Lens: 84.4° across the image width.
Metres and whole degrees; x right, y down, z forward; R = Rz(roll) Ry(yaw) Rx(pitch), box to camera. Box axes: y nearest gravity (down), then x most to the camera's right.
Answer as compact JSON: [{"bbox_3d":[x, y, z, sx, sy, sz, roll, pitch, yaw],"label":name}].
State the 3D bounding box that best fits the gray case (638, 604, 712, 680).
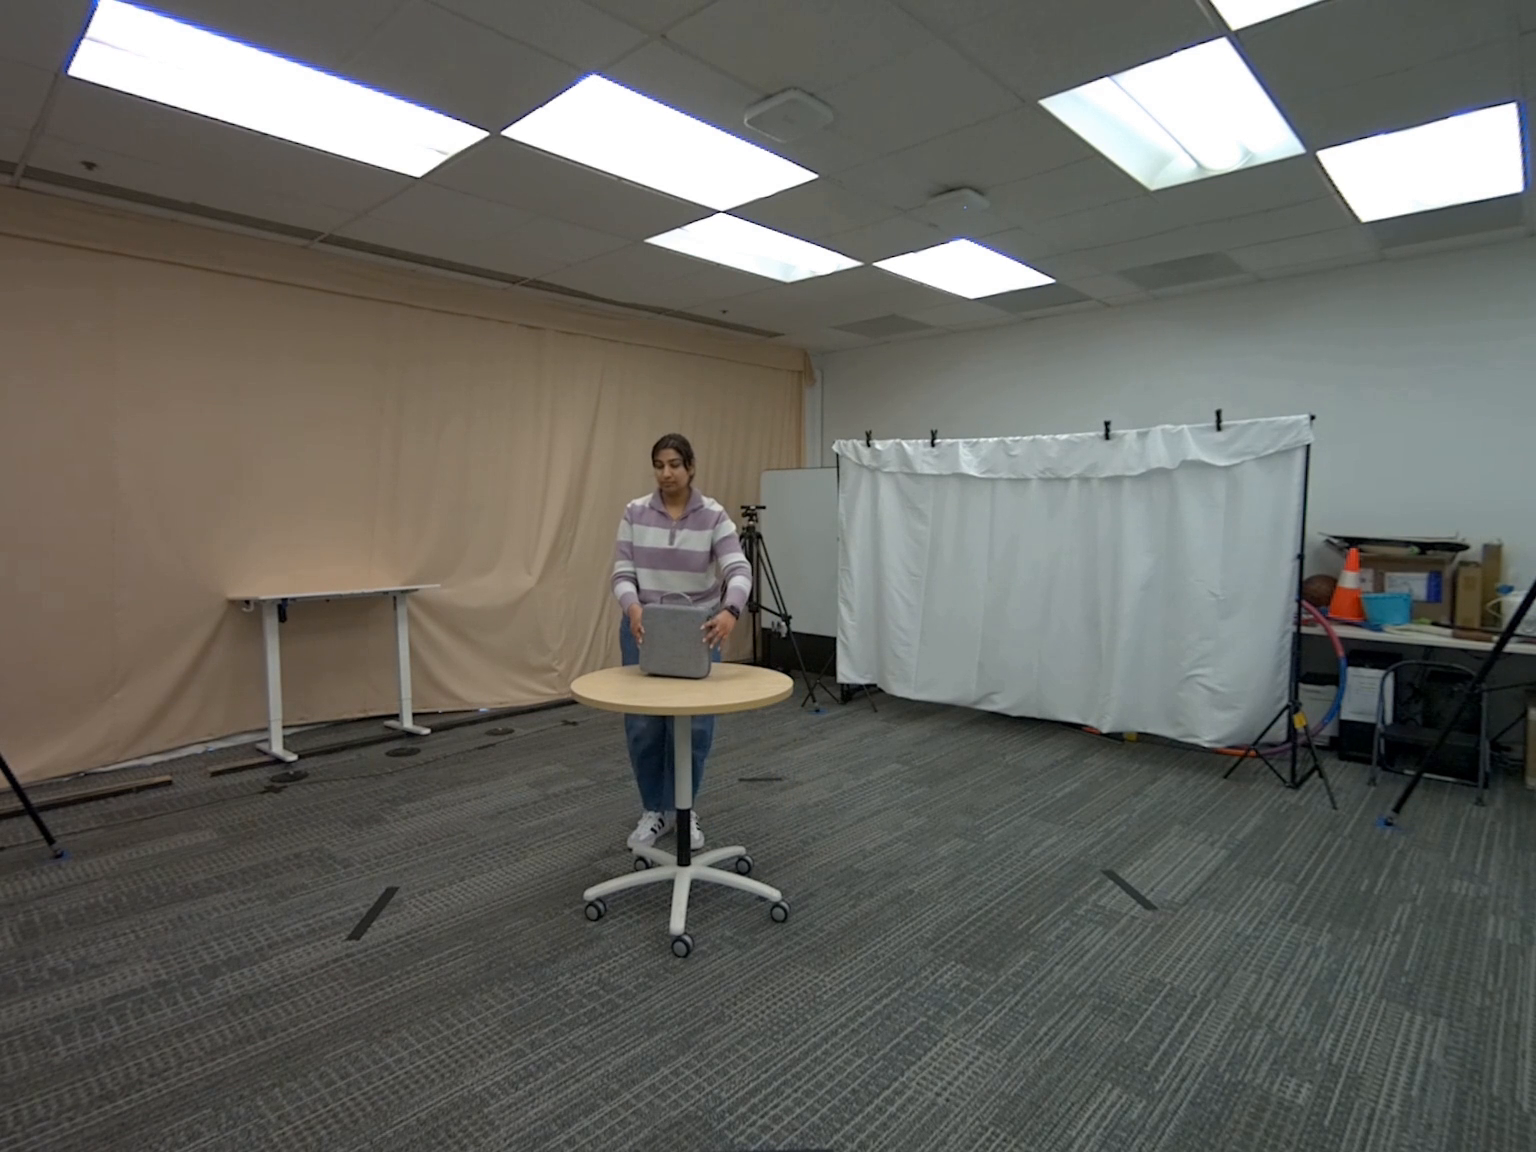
[{"bbox_3d":[-0.327,0.227,3.008,0.262,0.260,0.102,3,1,18],"label":"gray case"}]
